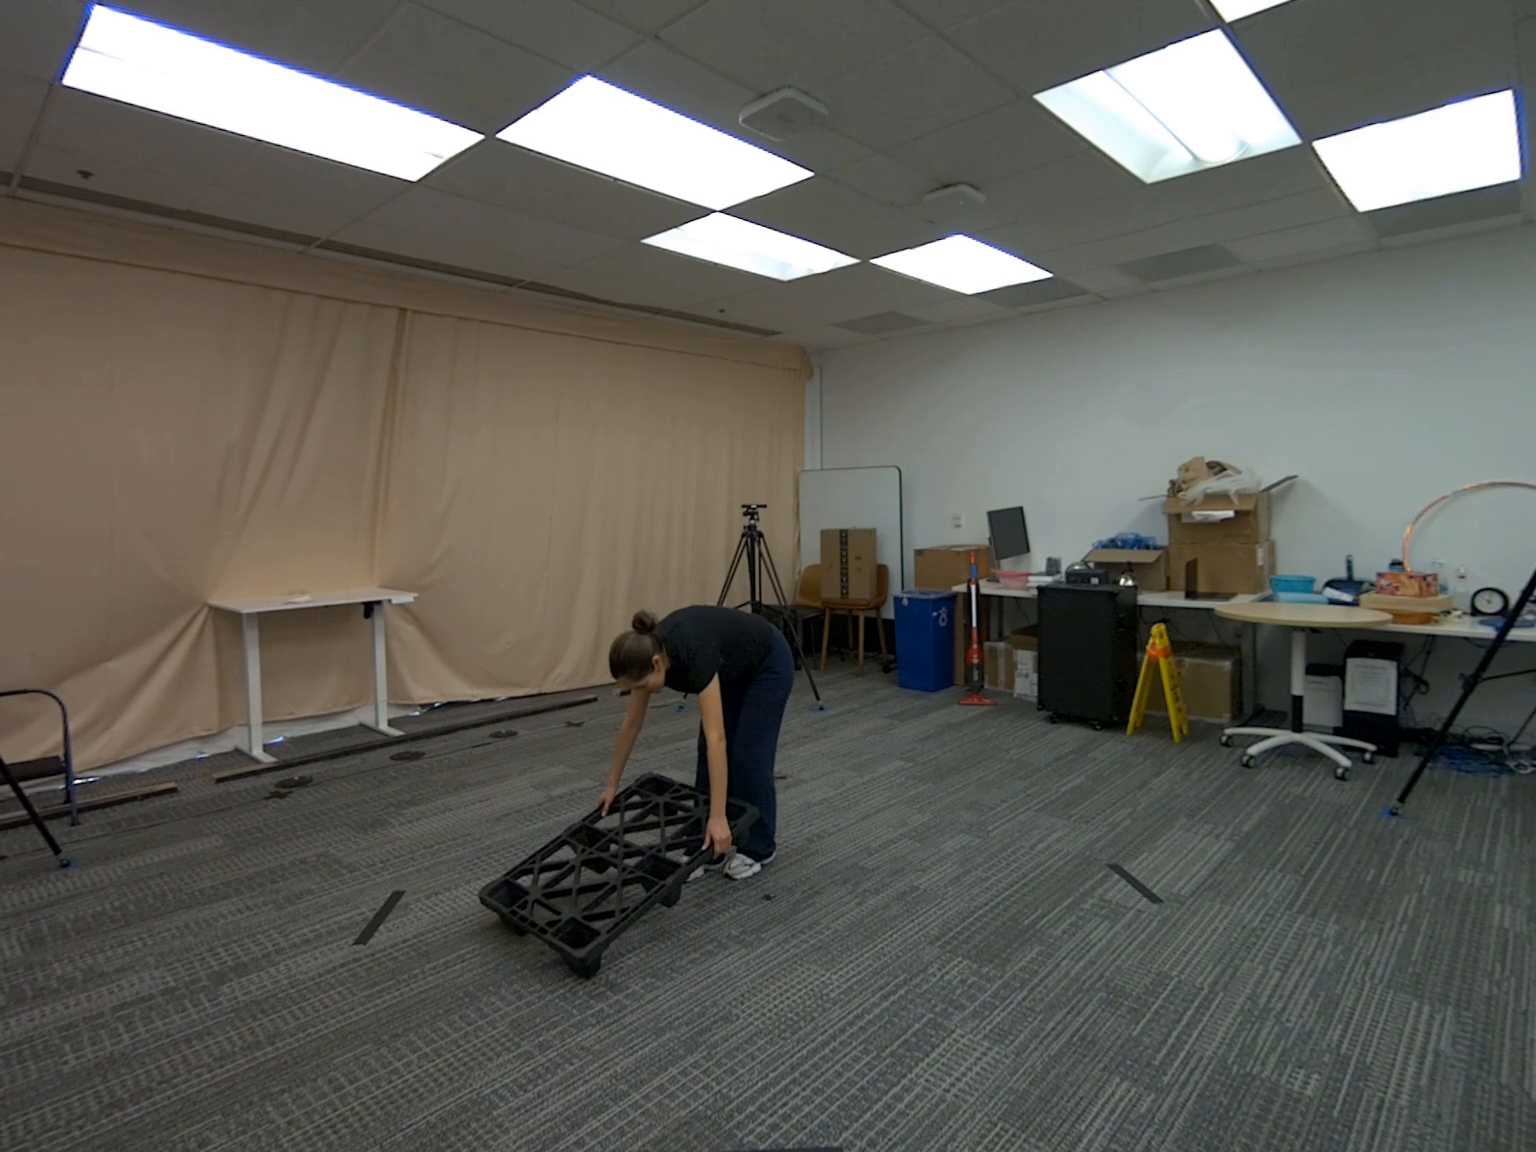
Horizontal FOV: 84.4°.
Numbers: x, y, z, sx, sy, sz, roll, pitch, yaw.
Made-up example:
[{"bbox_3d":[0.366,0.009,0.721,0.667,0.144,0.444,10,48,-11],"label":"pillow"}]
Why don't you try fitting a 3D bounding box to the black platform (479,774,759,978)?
[{"bbox_3d":[-0.477,0.993,2.875,0.625,0.141,0.790,4,25,43],"label":"black platform"}]
